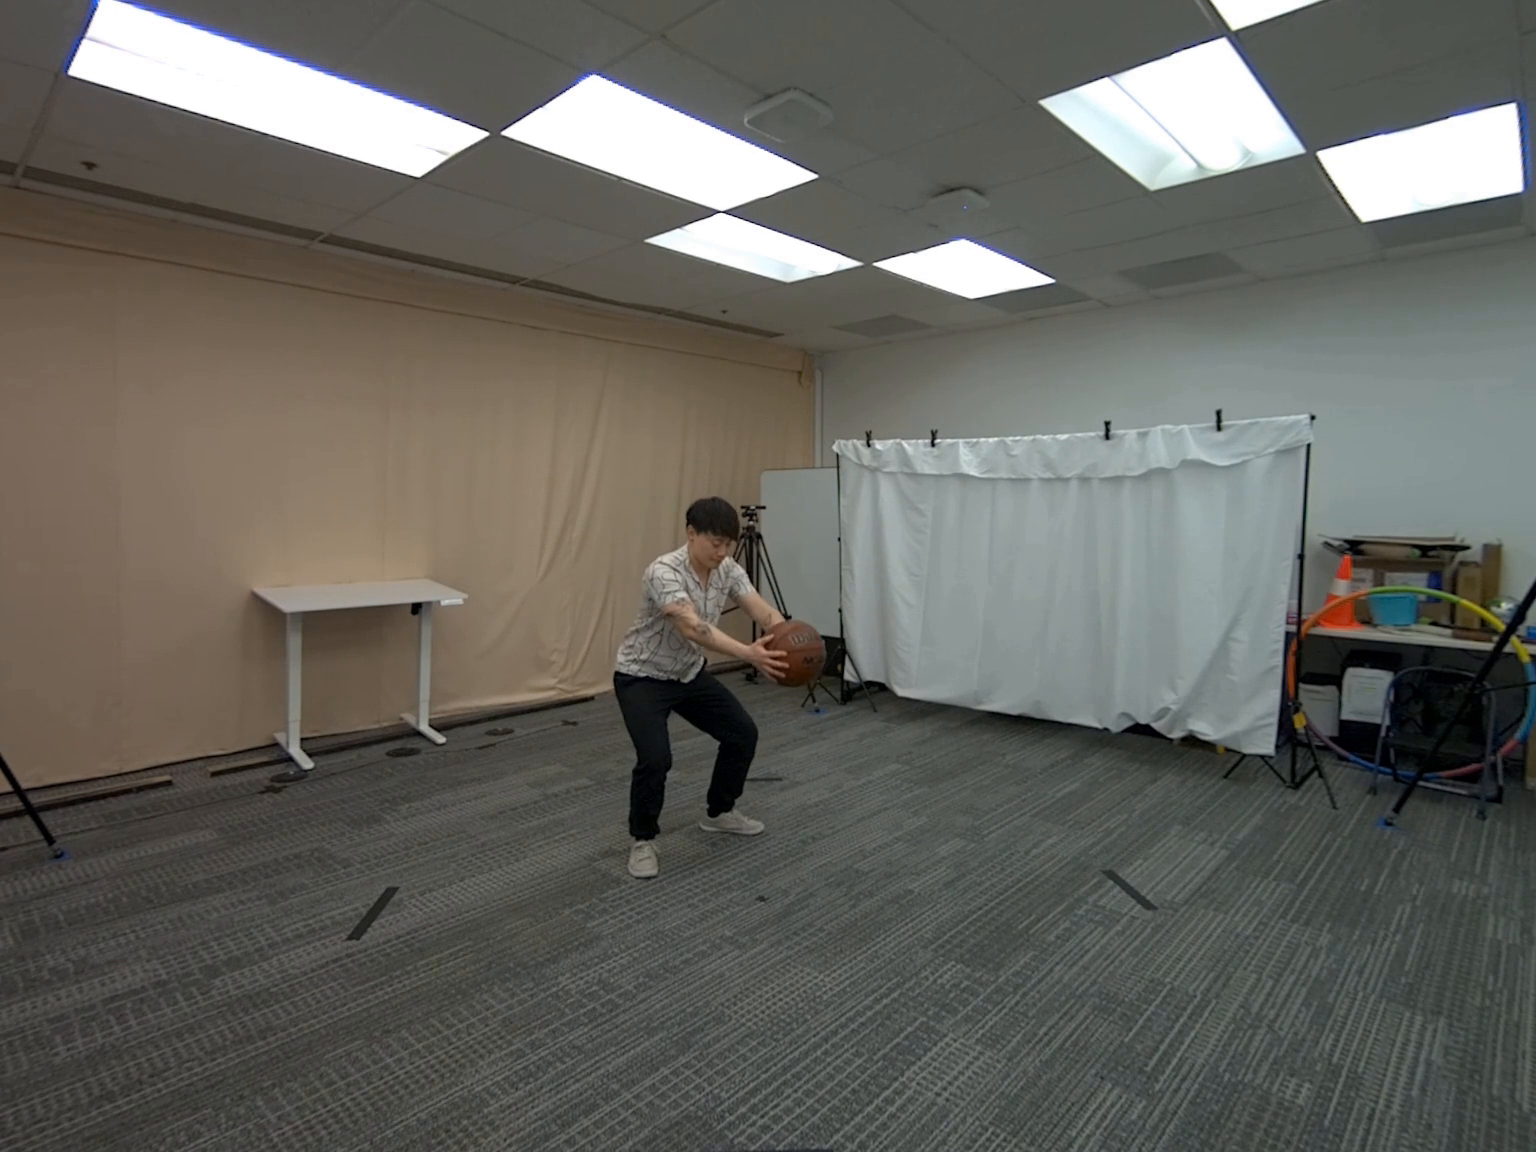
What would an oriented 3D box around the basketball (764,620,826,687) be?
[{"bbox_3d":[0.089,0.270,2.995,0.236,0.235,0.237,0,4,-2],"label":"basketball"}]
